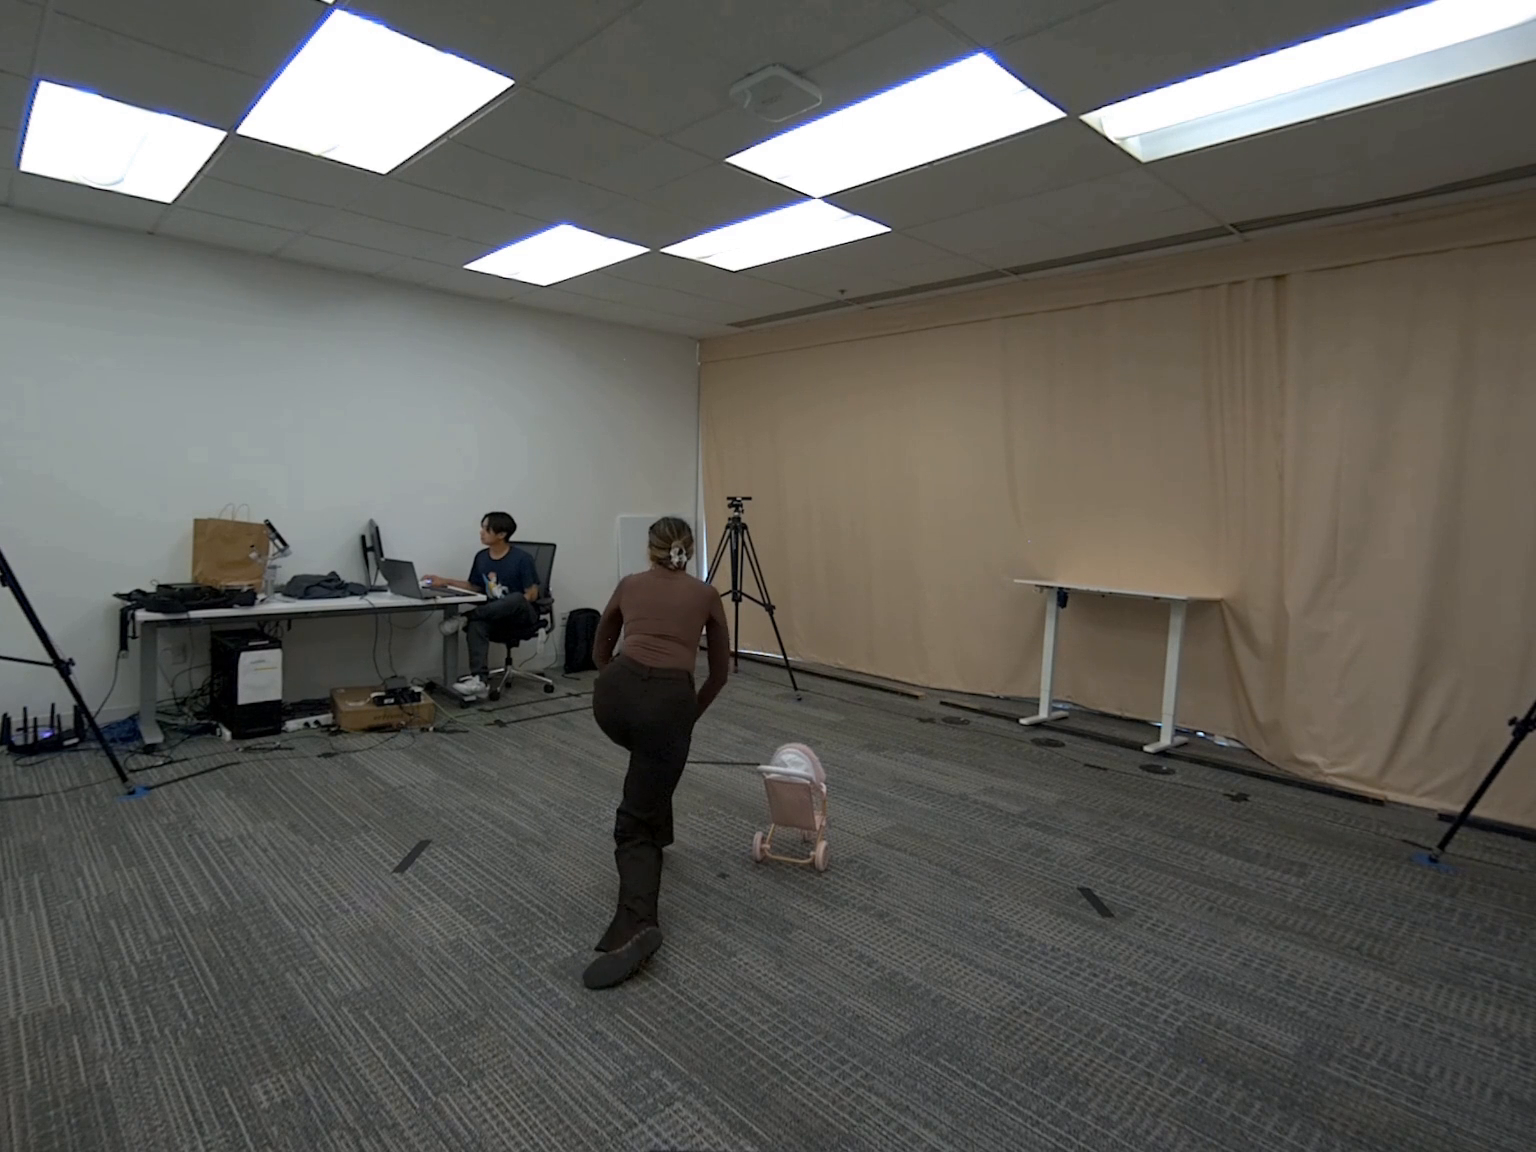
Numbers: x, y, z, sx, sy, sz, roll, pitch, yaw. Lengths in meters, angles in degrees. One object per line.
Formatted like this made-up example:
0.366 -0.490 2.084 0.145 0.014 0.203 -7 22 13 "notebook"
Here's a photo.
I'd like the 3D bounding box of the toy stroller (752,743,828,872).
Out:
0.099 0.876 3.250 0.286 0.527 0.341 3 21 21 "toy stroller"
